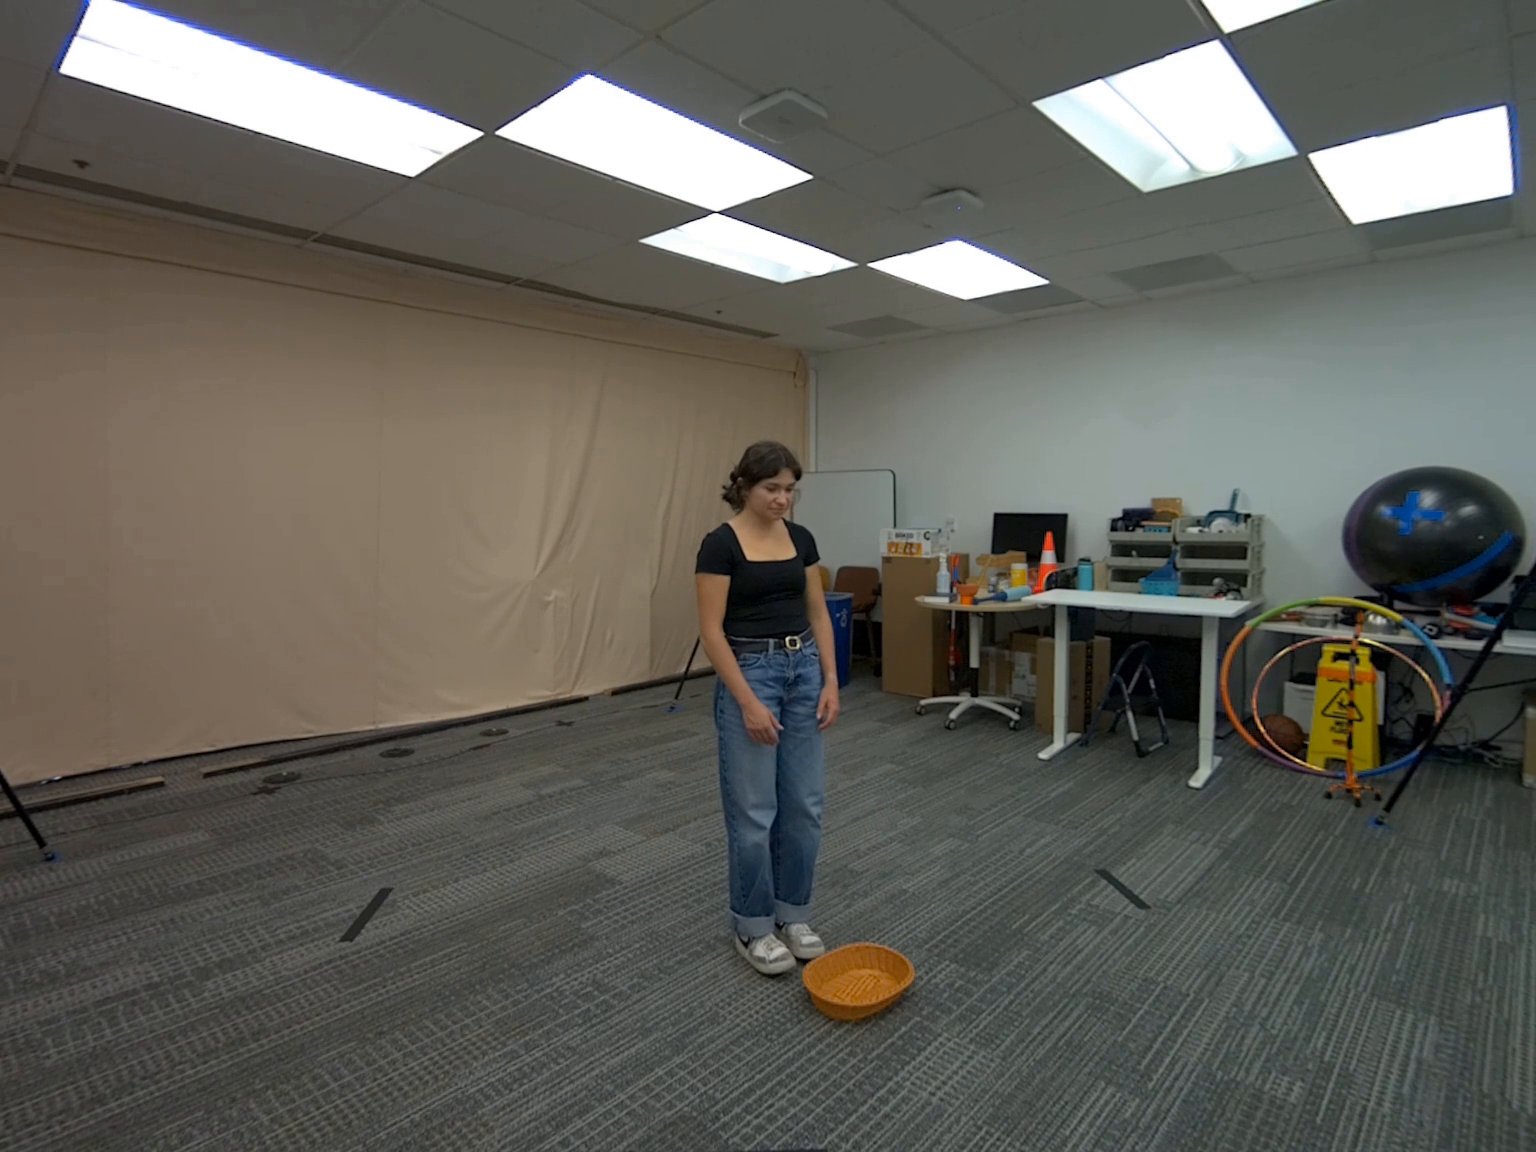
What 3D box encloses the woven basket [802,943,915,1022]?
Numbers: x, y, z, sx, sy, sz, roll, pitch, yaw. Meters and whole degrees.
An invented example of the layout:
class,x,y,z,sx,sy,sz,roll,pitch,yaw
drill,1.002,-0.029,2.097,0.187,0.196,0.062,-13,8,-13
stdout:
class,x,y,z,sx,sy,sz,roll,pitch,yaw
woven basket,0.261,1.155,2.389,0.340,0.073,0.261,-3,6,-36
